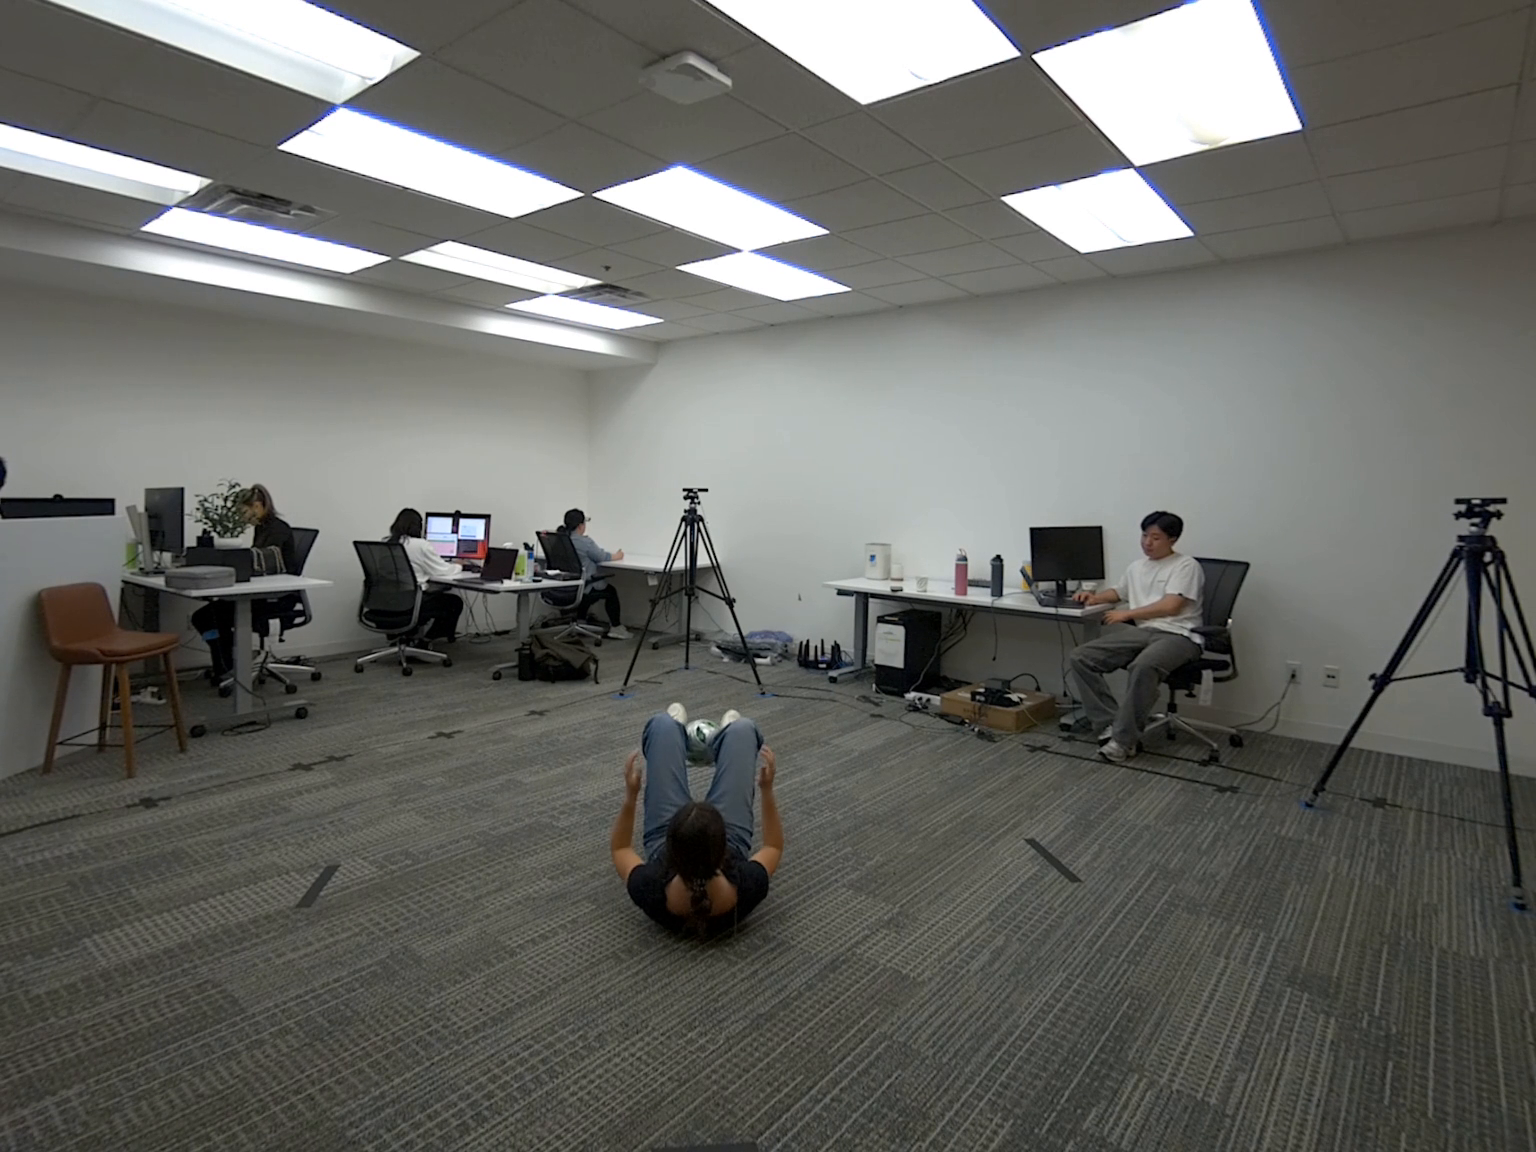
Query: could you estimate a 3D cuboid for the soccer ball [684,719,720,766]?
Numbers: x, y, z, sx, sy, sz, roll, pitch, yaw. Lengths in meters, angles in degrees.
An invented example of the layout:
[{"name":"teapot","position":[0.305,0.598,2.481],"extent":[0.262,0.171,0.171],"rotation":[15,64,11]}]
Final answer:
[{"name":"soccer ball","position":[-0.276,0.677,3.492],"extent":[0.187,0.187,0.188],"rotation":[-3,4,-2]}]
